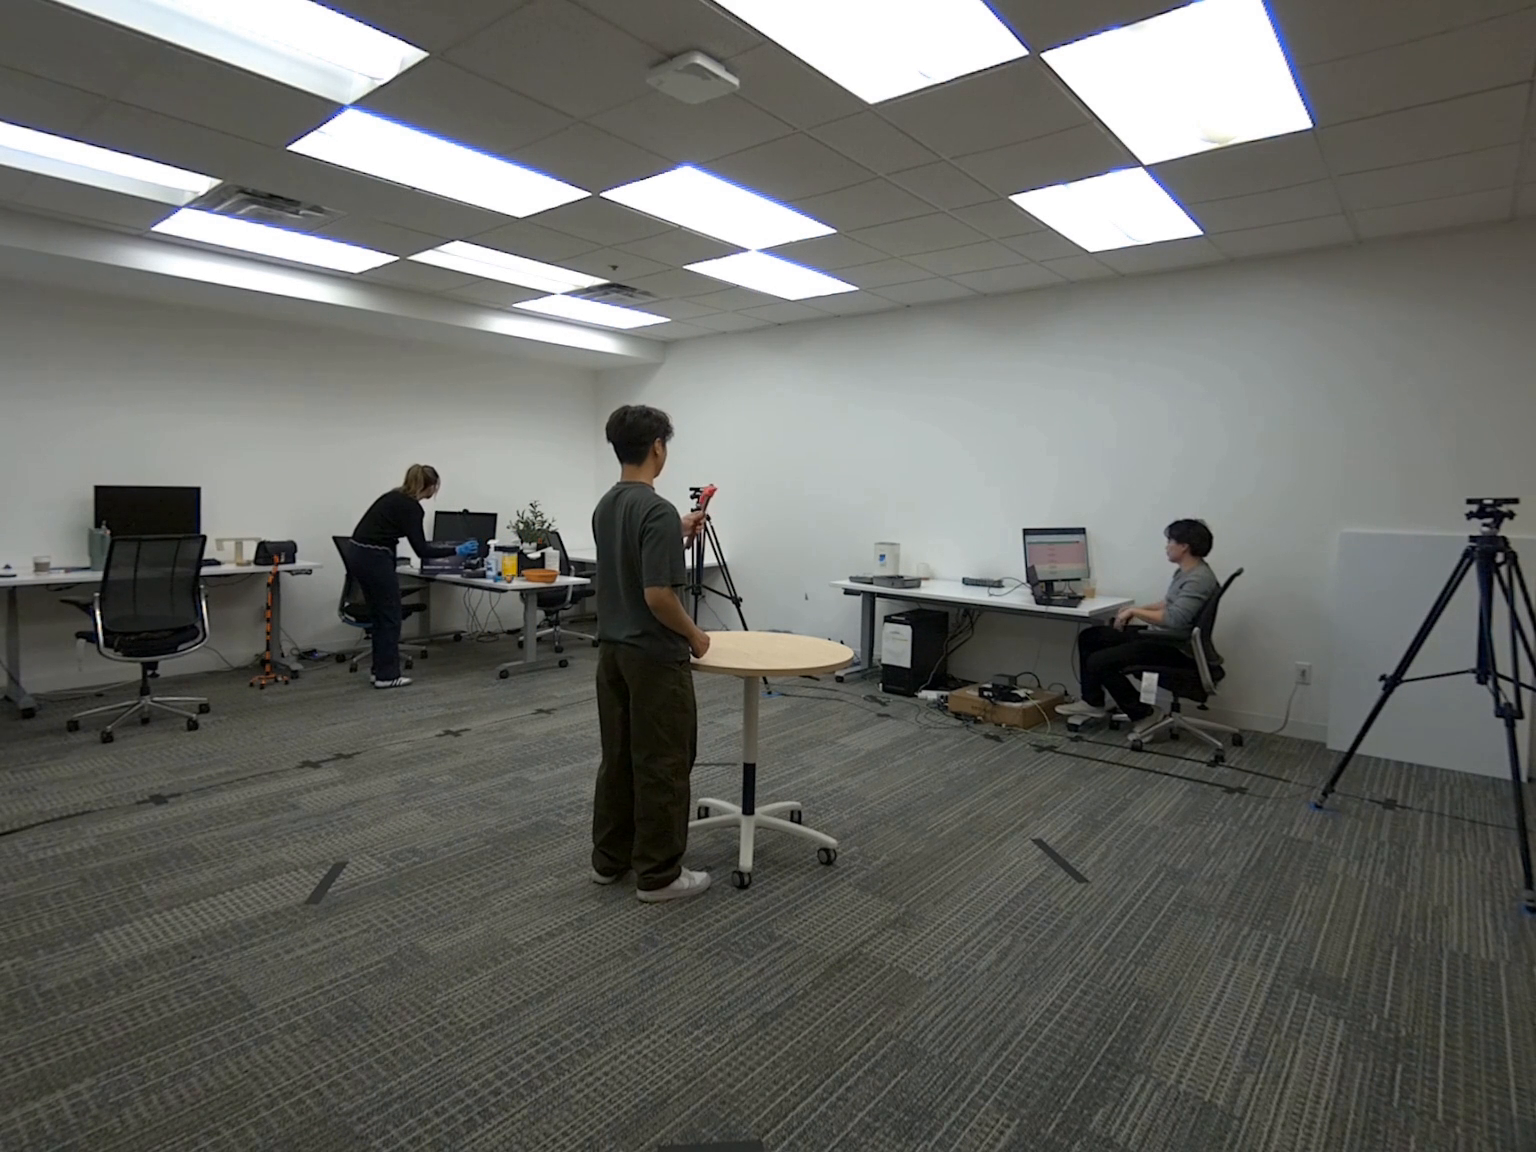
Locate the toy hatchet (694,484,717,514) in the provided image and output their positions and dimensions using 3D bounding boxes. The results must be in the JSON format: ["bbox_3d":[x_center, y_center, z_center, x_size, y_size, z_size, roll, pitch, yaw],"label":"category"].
[{"bbox_3d":[-0.286,-0.241,3.334,0.029,0.270,0.134,25,-2,-20],"label":"toy hatchet"}]
